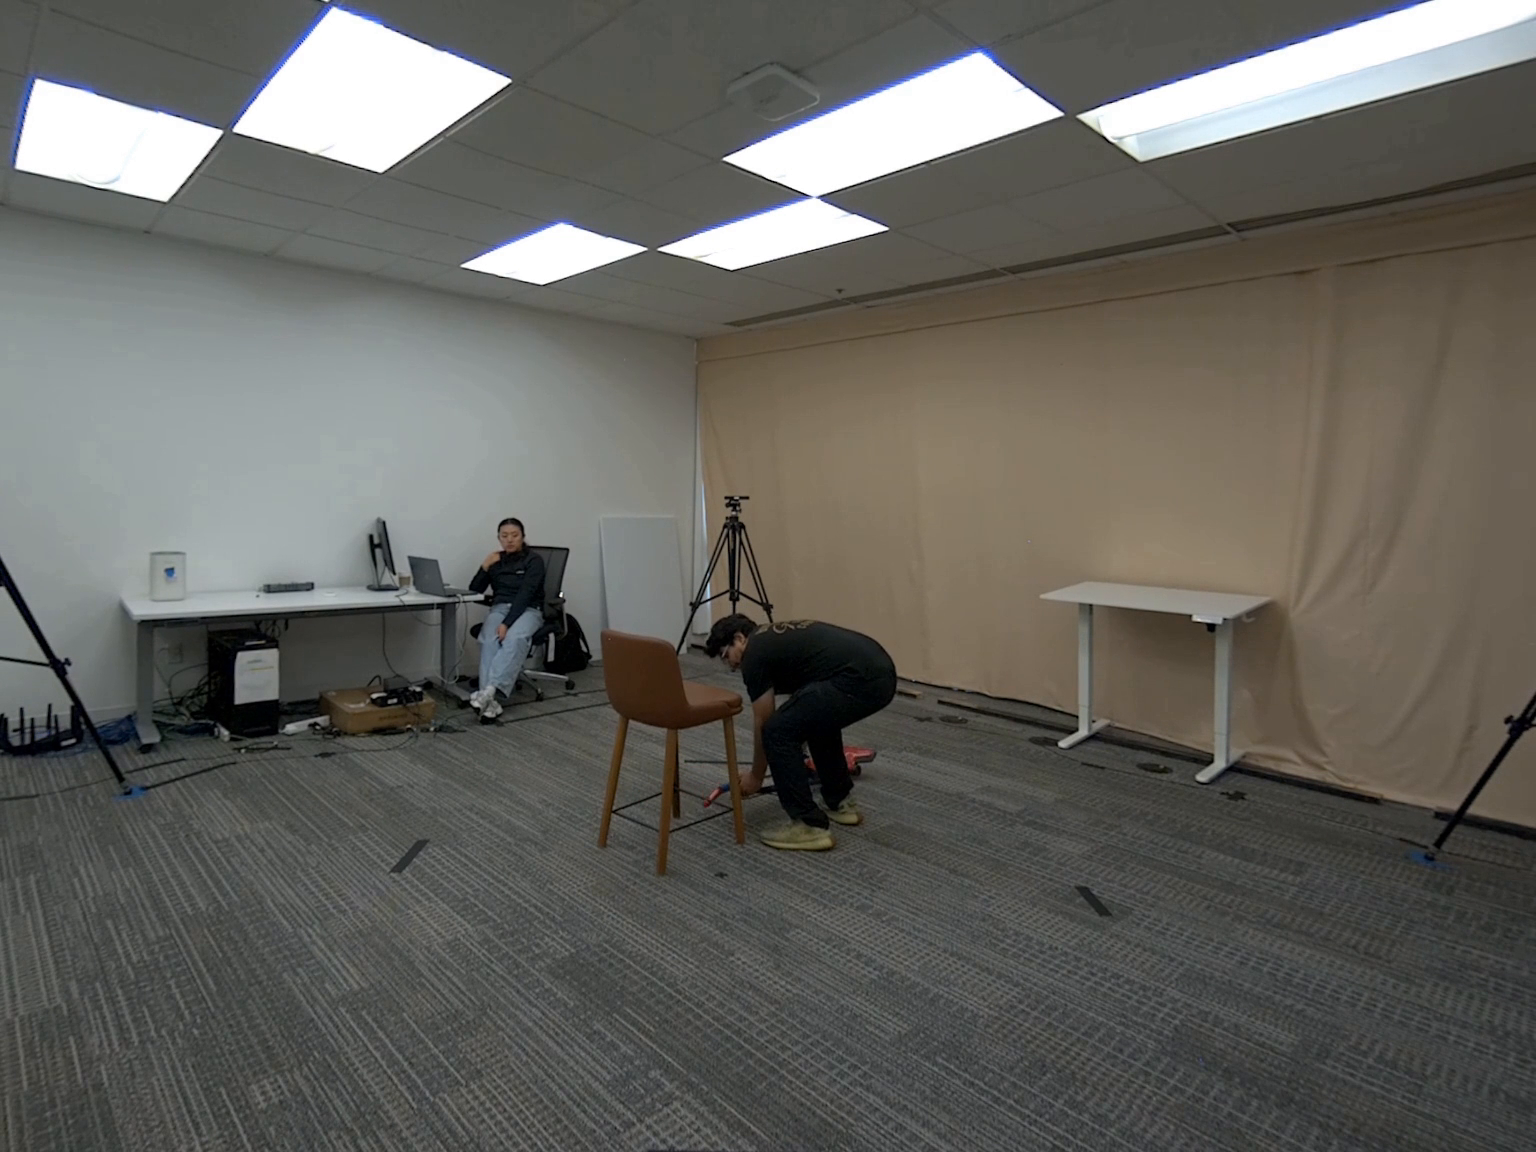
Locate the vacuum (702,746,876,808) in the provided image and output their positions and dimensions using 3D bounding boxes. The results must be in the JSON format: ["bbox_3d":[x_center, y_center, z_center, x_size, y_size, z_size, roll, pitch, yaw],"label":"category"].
[{"bbox_3d":[0.081,0.962,3.891,0.258,0.144,1.026,1,3,41],"label":"vacuum"}]
